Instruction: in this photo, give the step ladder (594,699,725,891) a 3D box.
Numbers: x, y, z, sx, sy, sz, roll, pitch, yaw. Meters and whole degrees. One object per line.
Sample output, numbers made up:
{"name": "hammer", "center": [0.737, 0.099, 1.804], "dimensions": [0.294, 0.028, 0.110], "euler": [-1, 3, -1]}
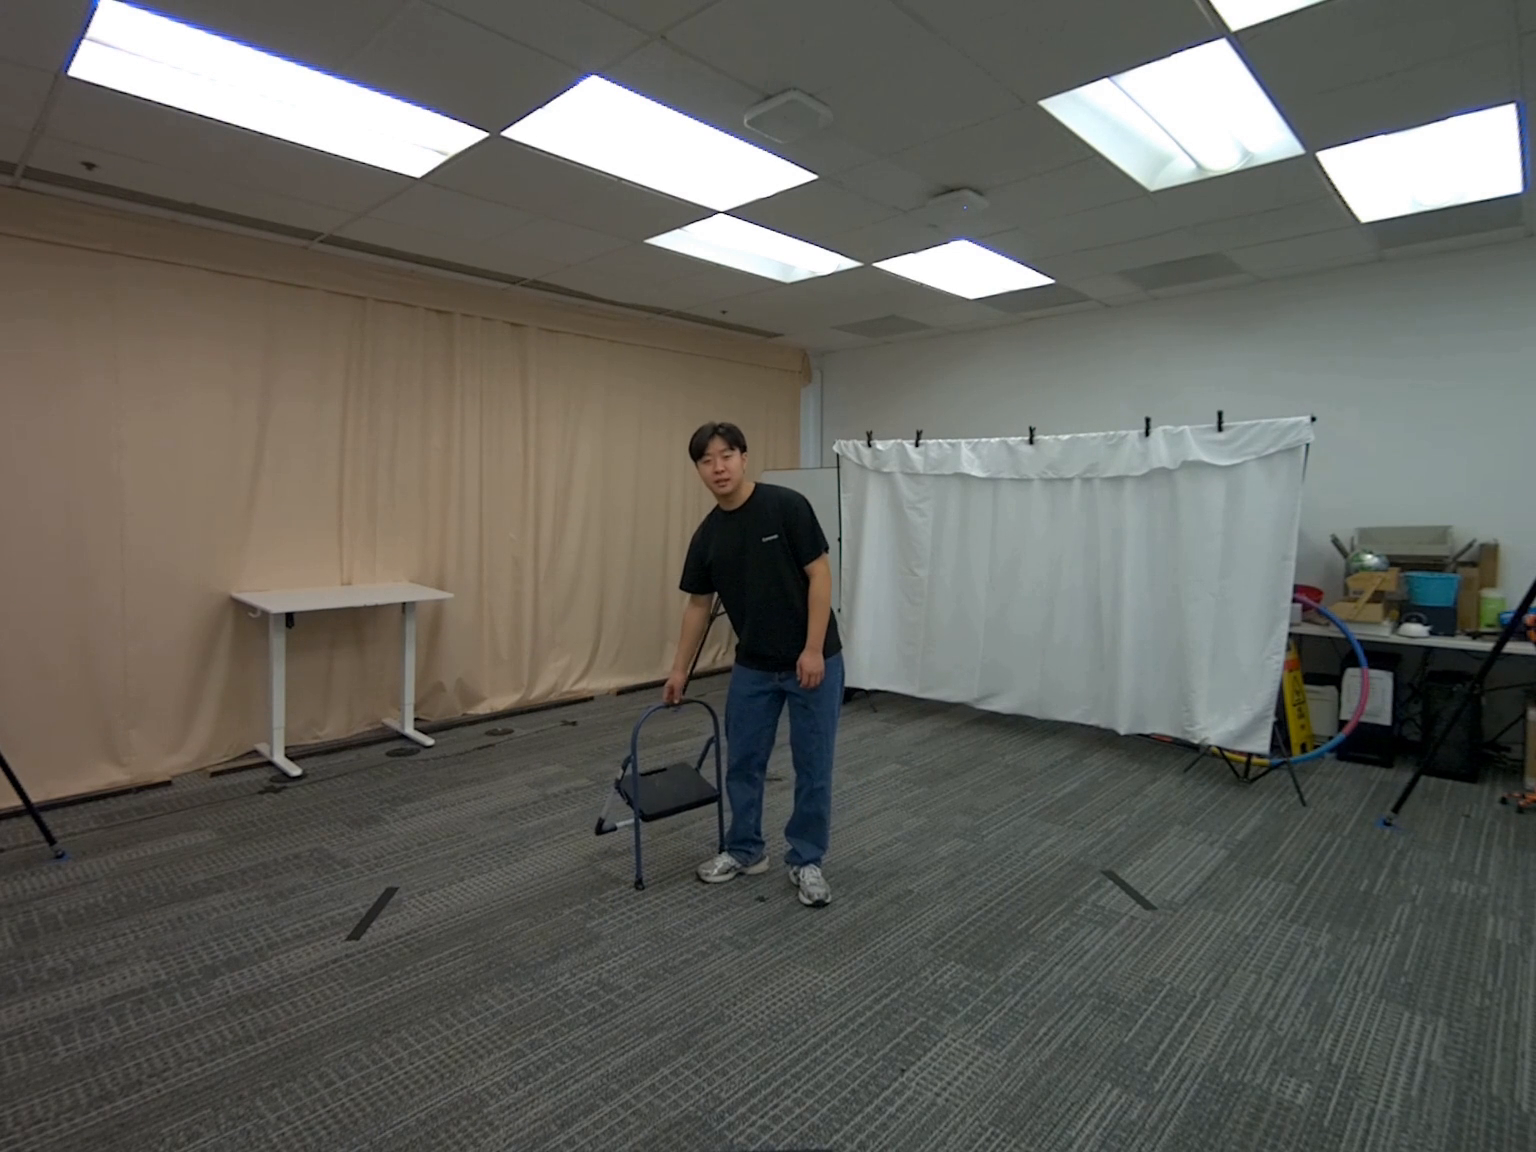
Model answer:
{"name": "step ladder", "center": [-0.366, 0.786, 3.231], "dimensions": [0.417, 0.602, 0.362], "euler": [-3, 23, -41]}
